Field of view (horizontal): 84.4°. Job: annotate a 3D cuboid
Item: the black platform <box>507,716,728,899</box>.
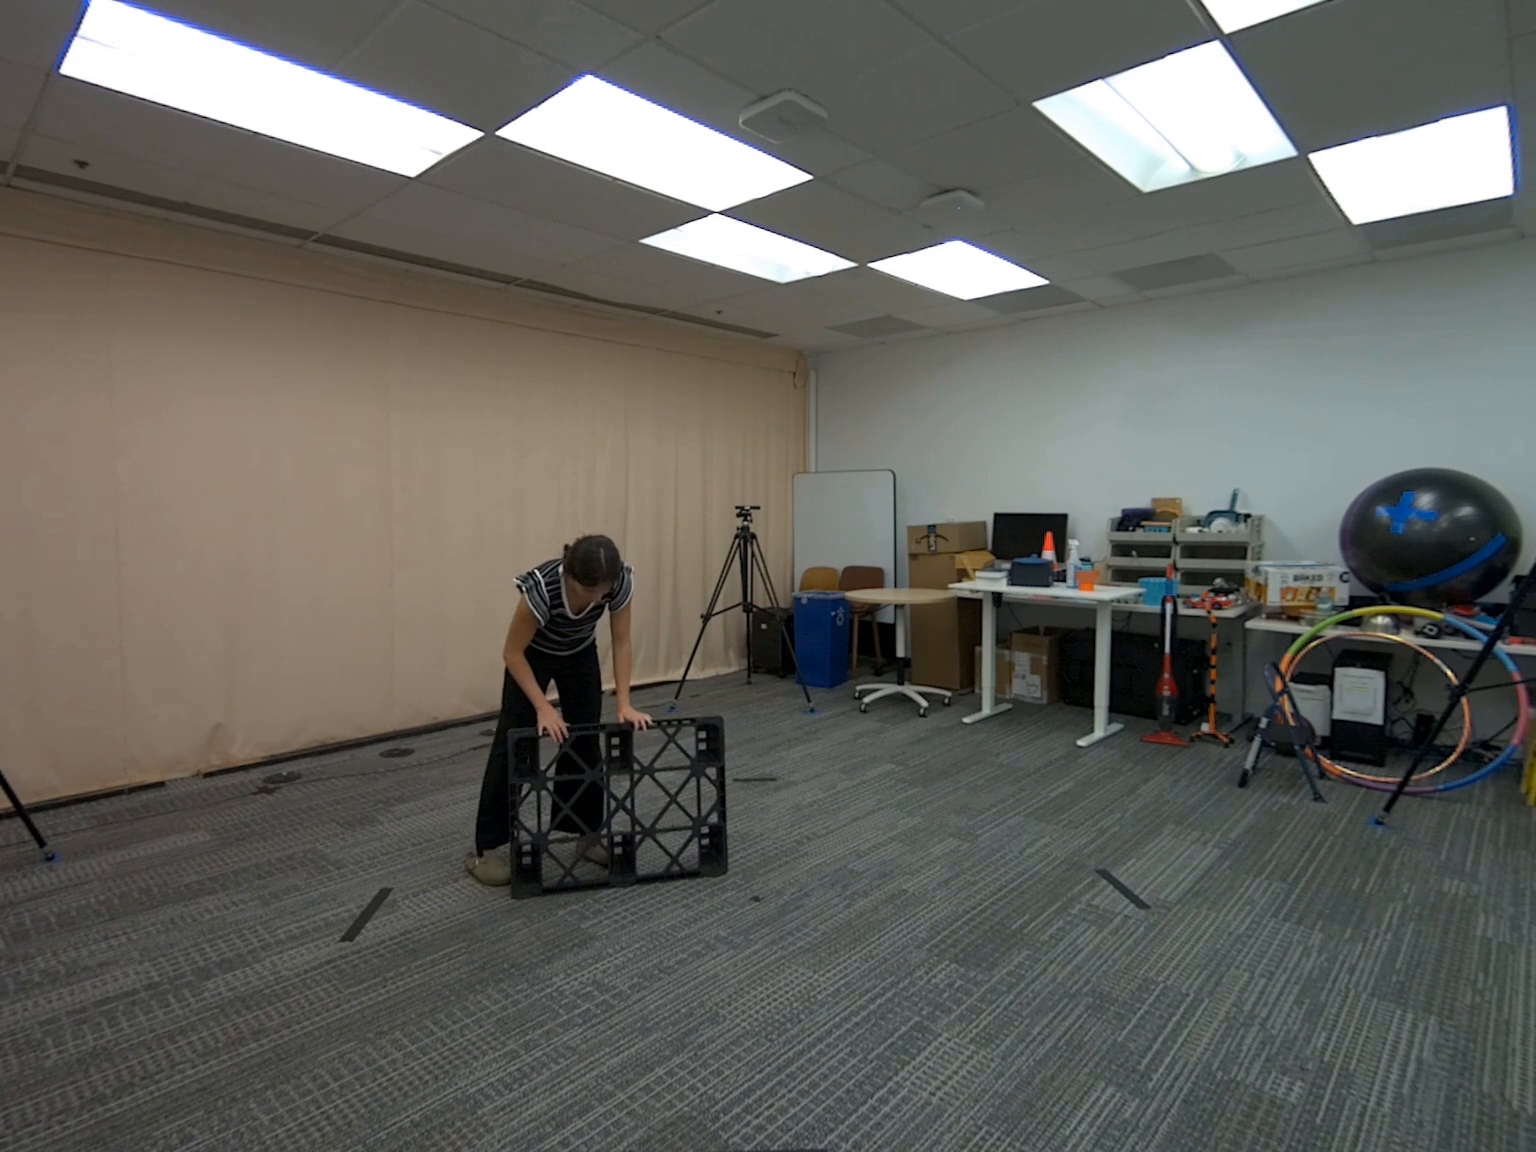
[{"bbox_3d":[-0.556,0.833,3.147,0.794,0.606,0.145,-1,-2,-14],"label":"black platform"}]
